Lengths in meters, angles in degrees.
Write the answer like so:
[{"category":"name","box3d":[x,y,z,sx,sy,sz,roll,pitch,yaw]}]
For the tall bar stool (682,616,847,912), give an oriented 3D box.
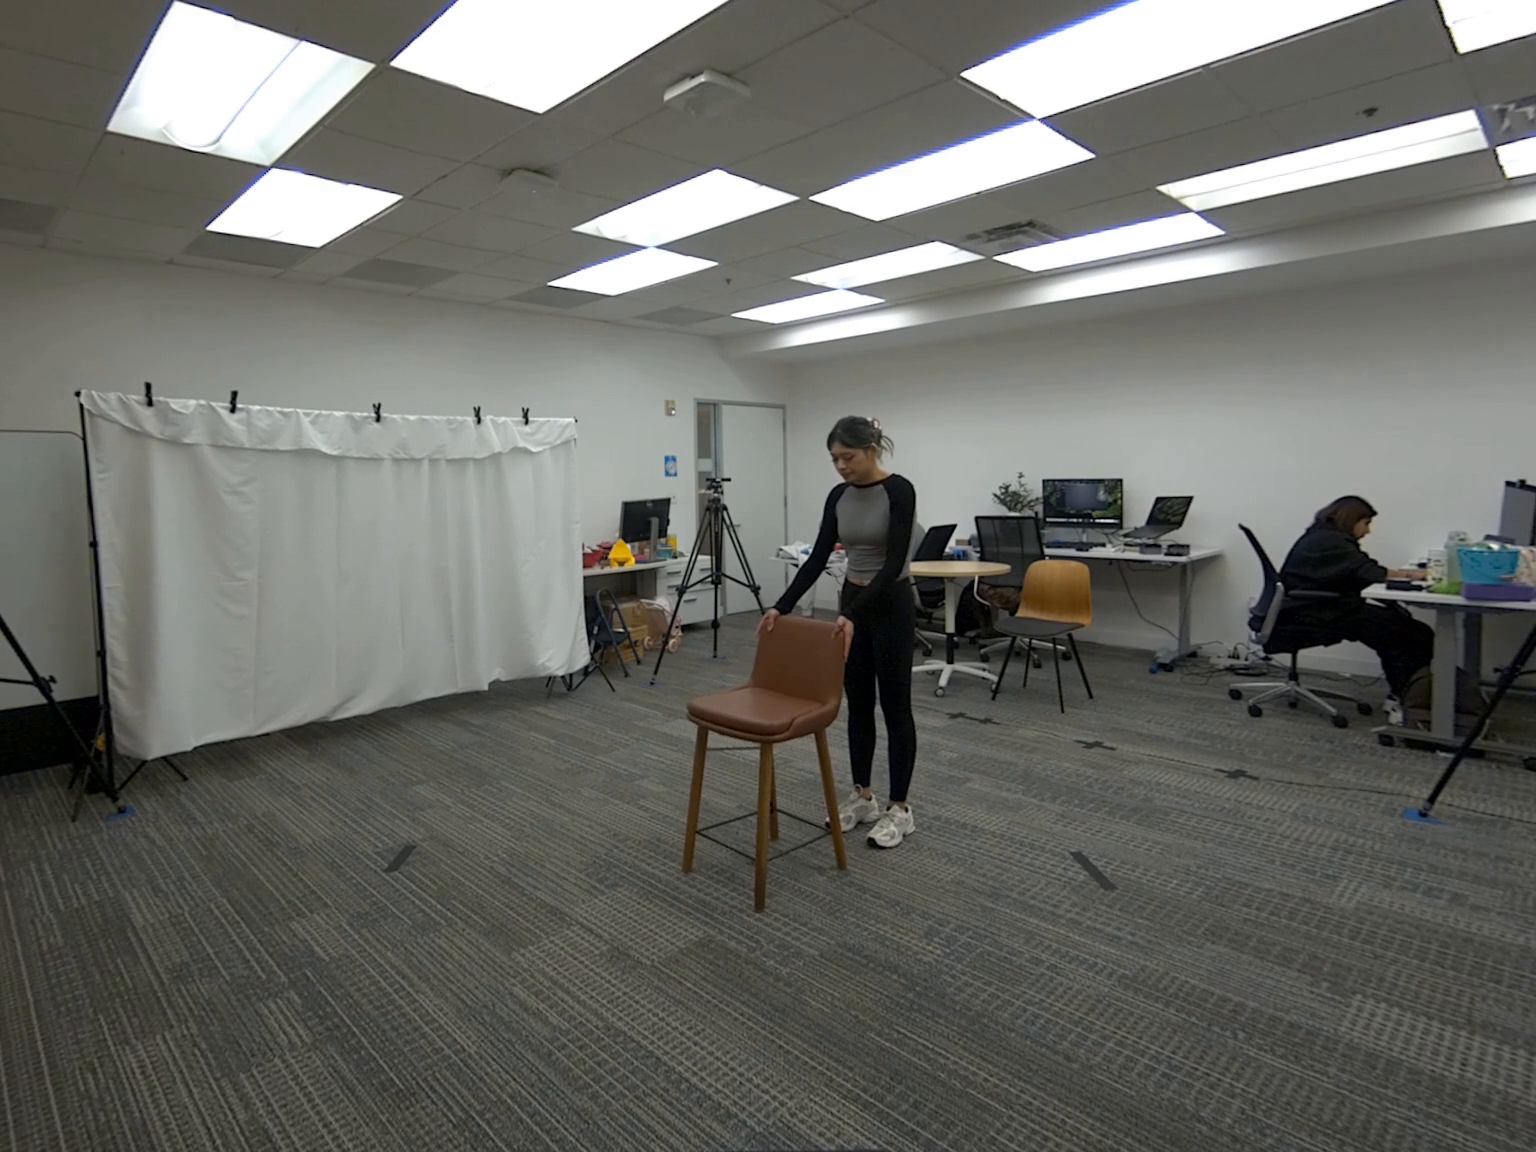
[{"category":"tall bar stool","box3d":[-0.005,0.609,3.025,0.454,0.888,0.470,-1,3,-42]}]
